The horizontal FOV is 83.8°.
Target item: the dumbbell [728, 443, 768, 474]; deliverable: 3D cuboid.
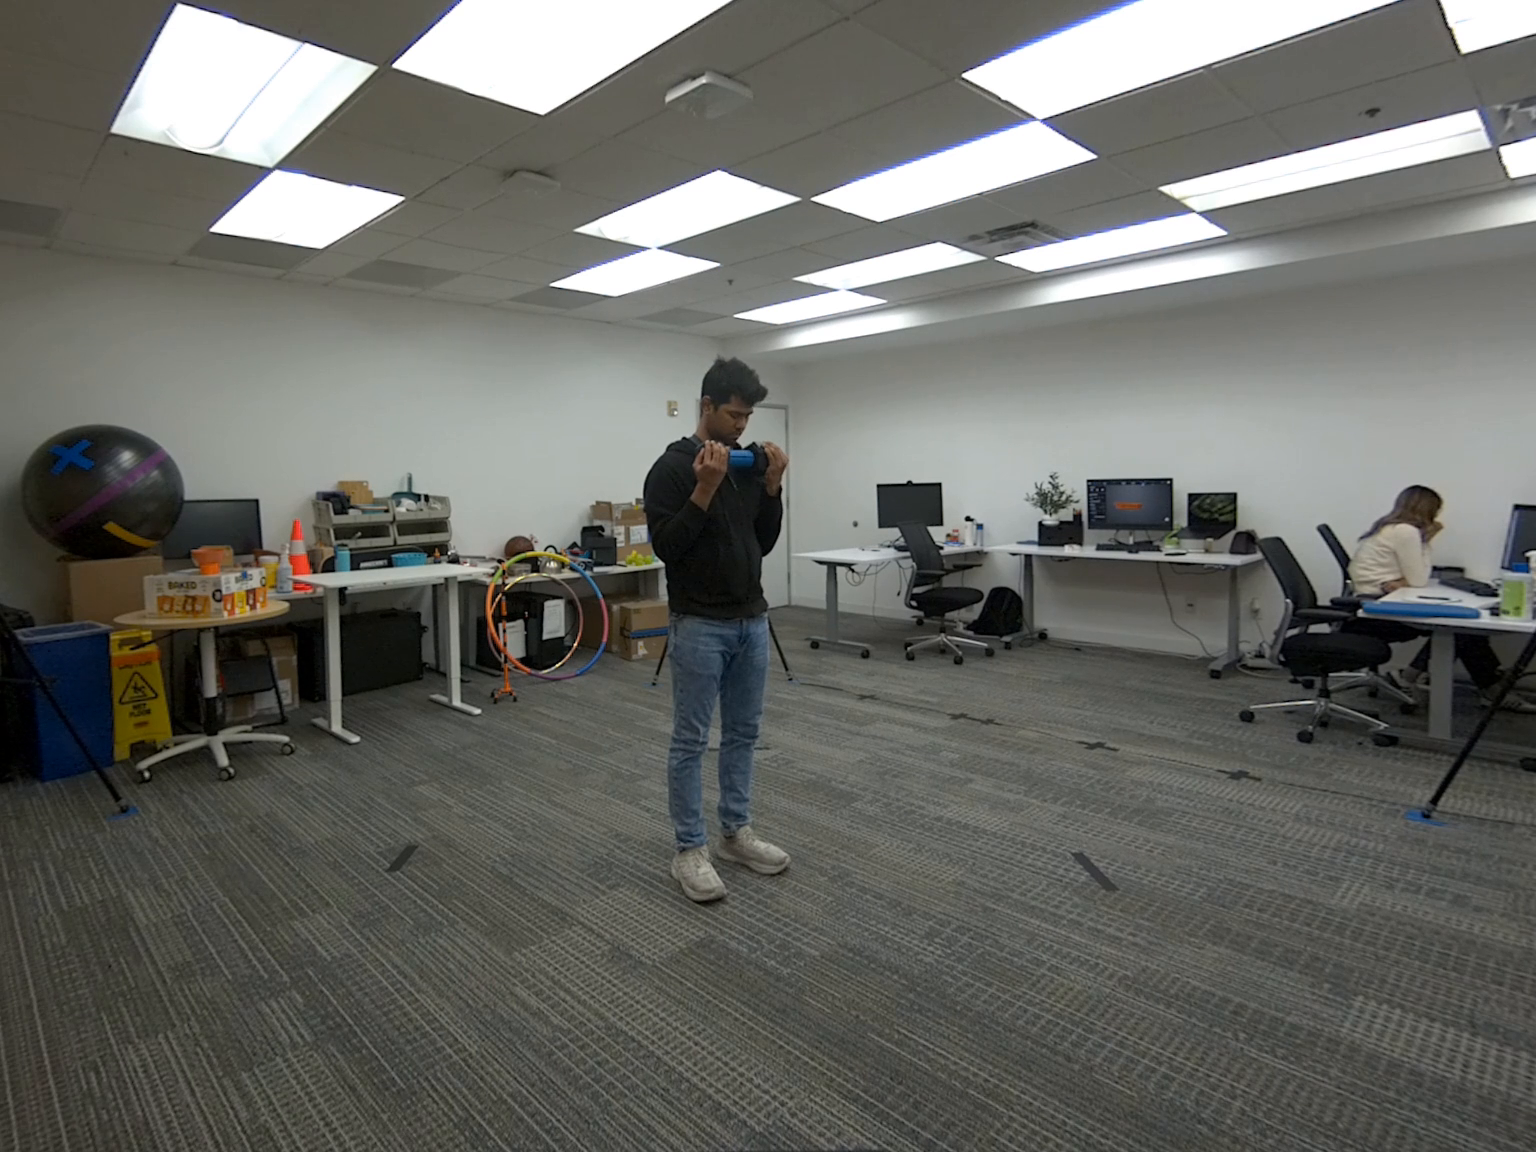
[{"bbox_3d":[-0.121,-0.387,2.895,0.286,0.110,0.124,-6,-14,-40],"label":"dumbbell"}]
